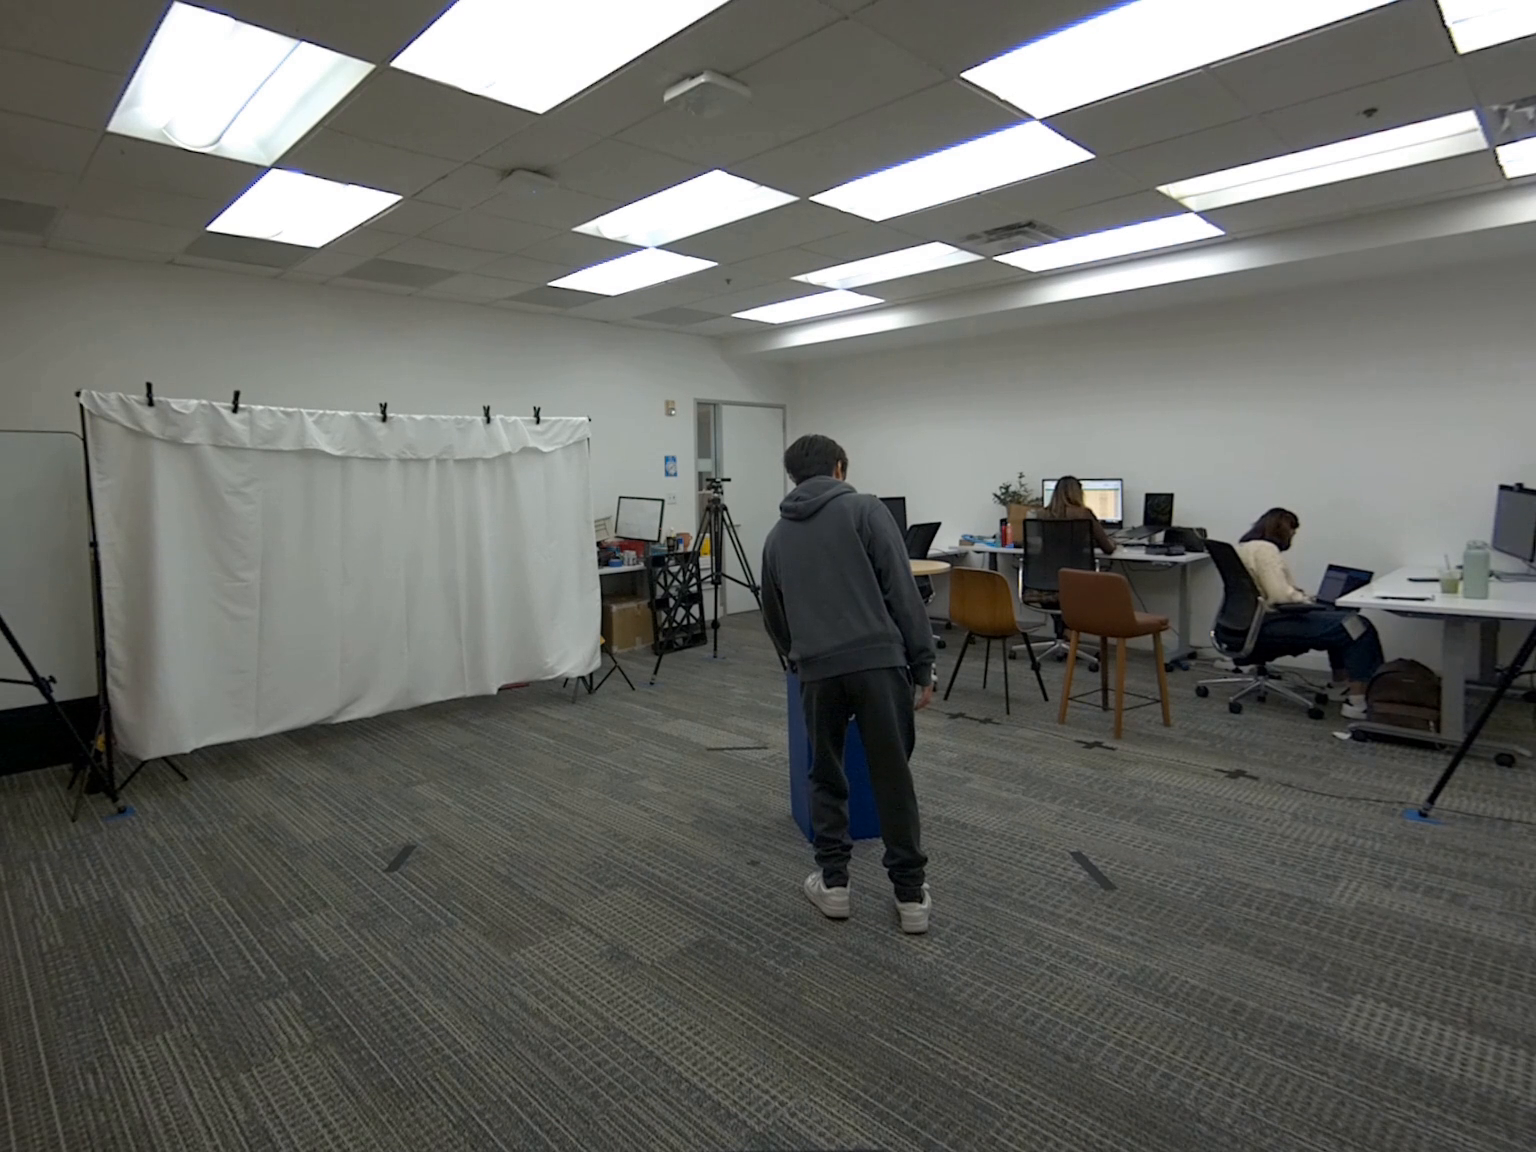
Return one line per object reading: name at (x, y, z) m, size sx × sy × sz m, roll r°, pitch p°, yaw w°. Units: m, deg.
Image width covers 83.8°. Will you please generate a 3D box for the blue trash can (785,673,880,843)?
blue trash can at (0.280, 0.649, 3.414) m, size 0.370 × 0.711 × 0.383 m, roll -2°, pitch 4°, yaw -10°
